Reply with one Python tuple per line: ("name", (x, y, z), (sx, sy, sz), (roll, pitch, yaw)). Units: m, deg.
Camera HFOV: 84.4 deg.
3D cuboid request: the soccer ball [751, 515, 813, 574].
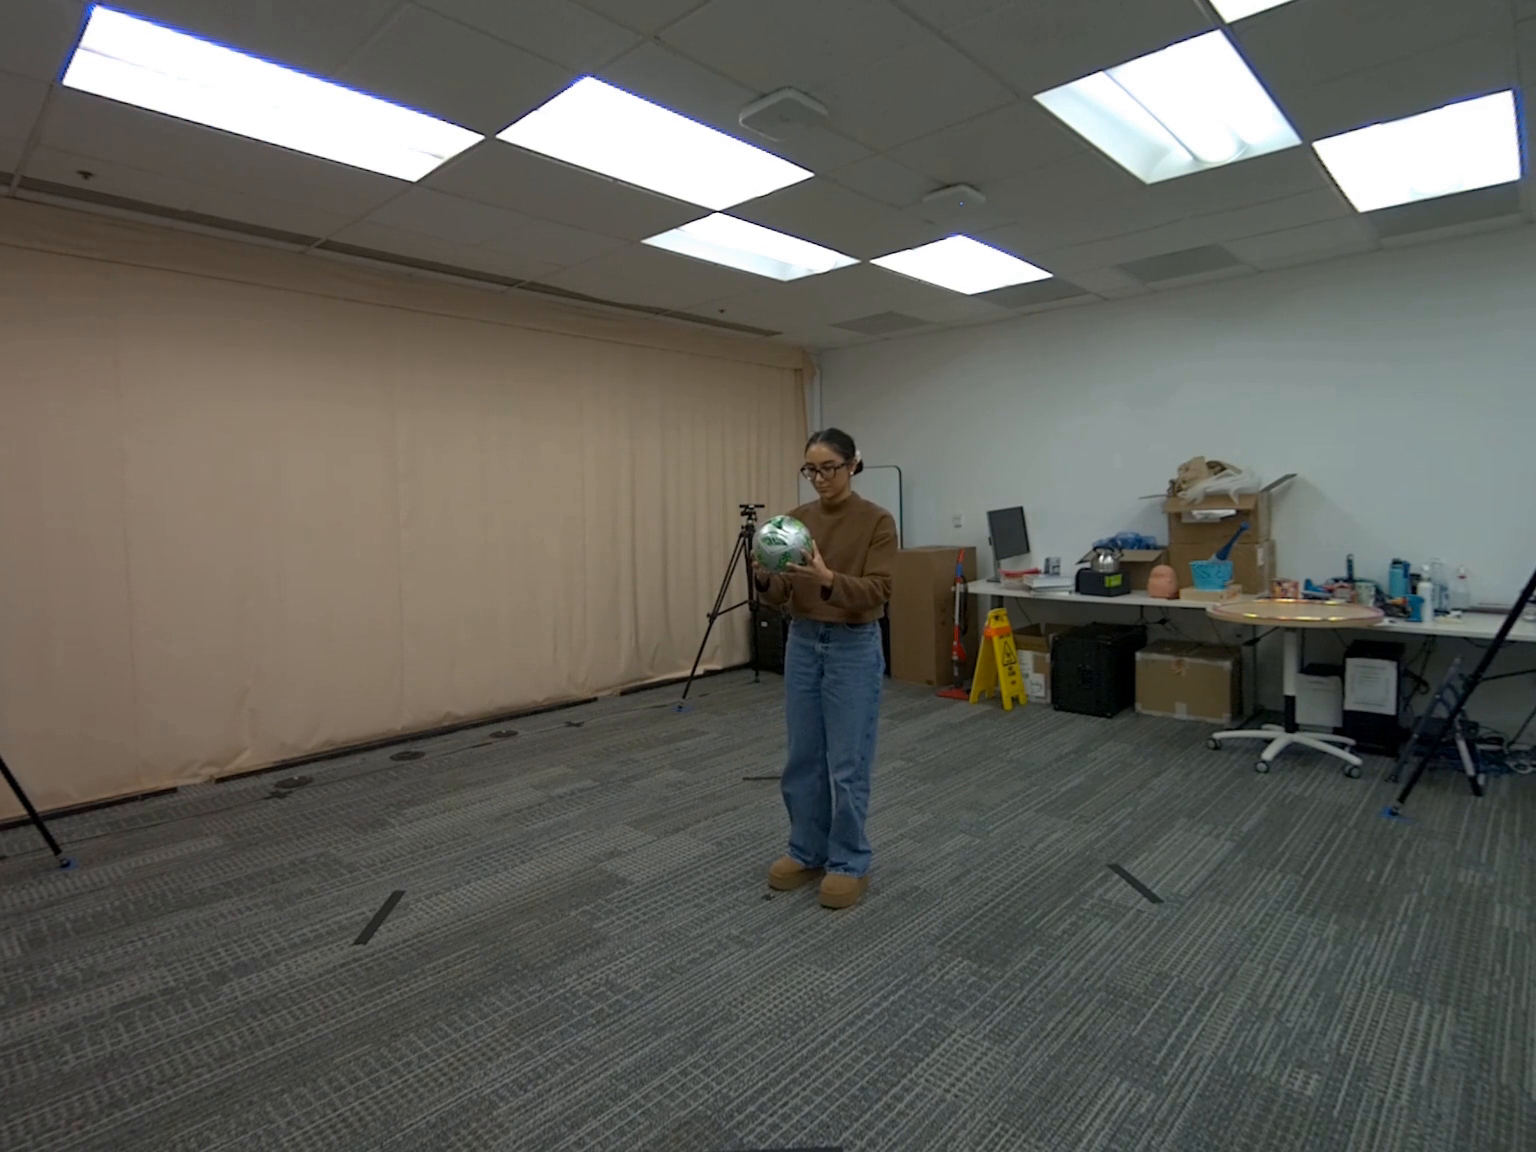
("soccer ball", (0.042, -0.092, 2.626), (0.187, 0.187, 0.188), (-1, 4, -2))
